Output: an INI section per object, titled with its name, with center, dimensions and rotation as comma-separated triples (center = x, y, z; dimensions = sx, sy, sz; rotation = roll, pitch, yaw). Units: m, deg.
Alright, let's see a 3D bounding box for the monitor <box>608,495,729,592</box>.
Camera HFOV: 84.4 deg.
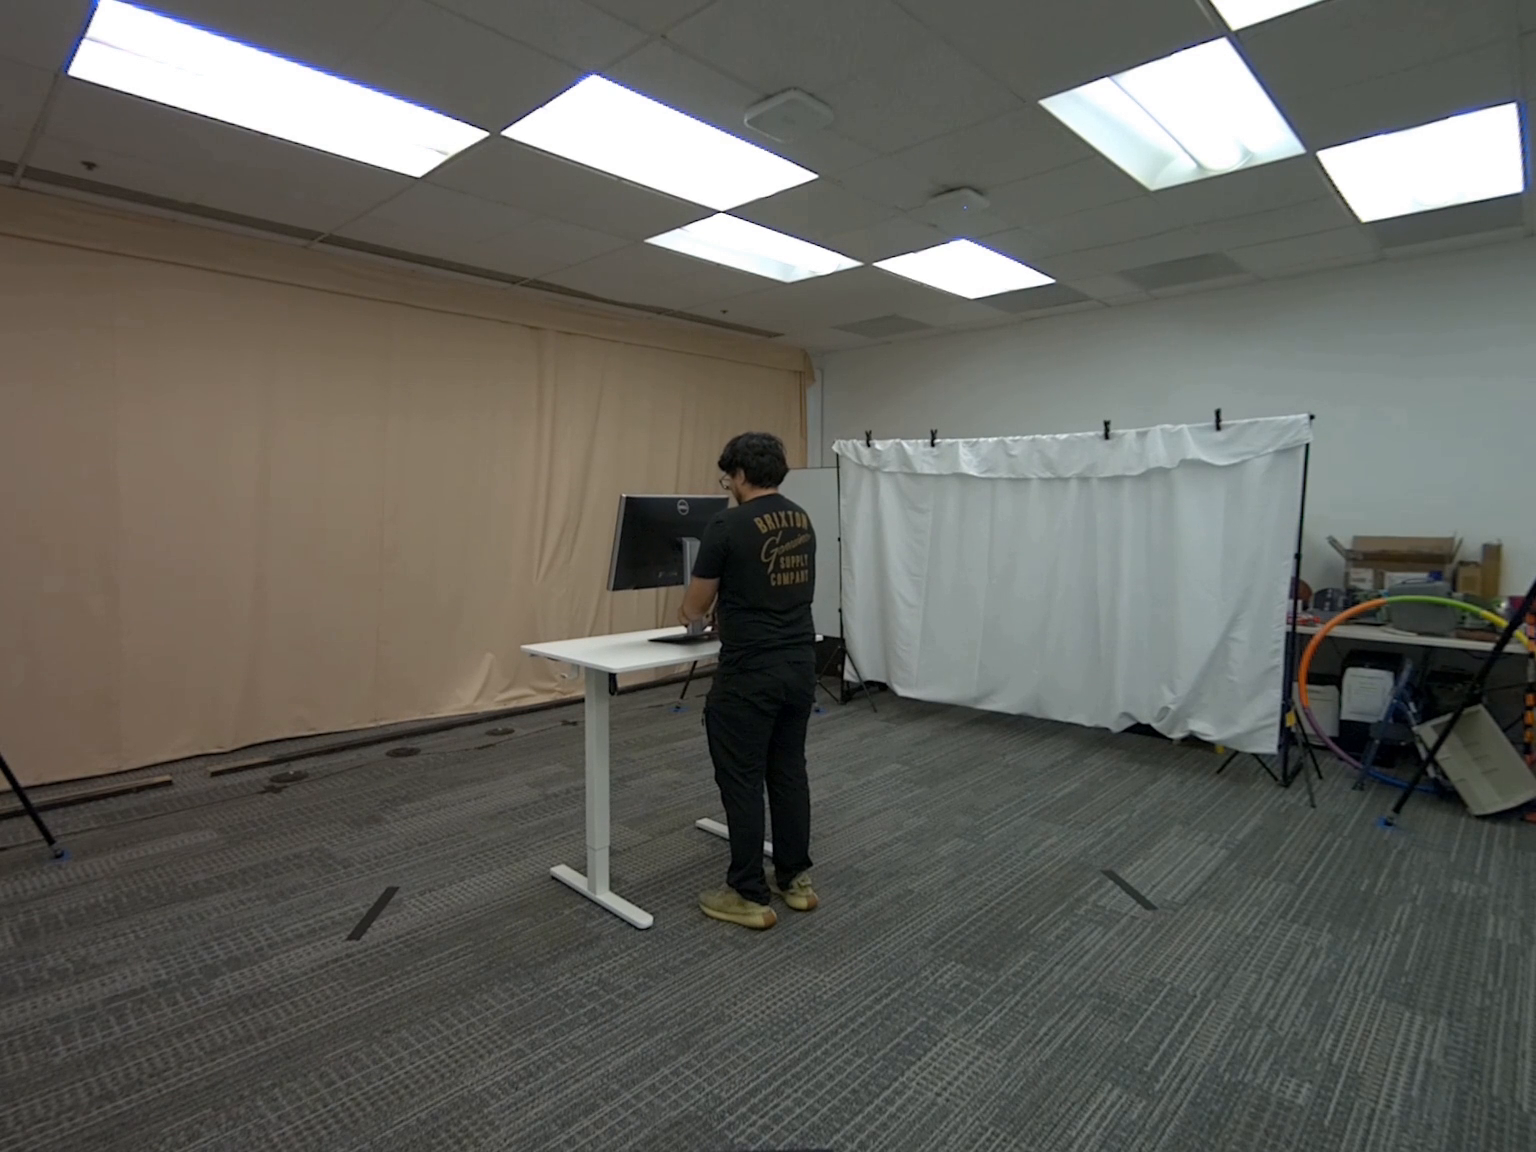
[monitor]
center = -0.316, -0.034, 3.200
dimensions = 0.217, 0.552, 0.548
rotation = 7, 7, 40
